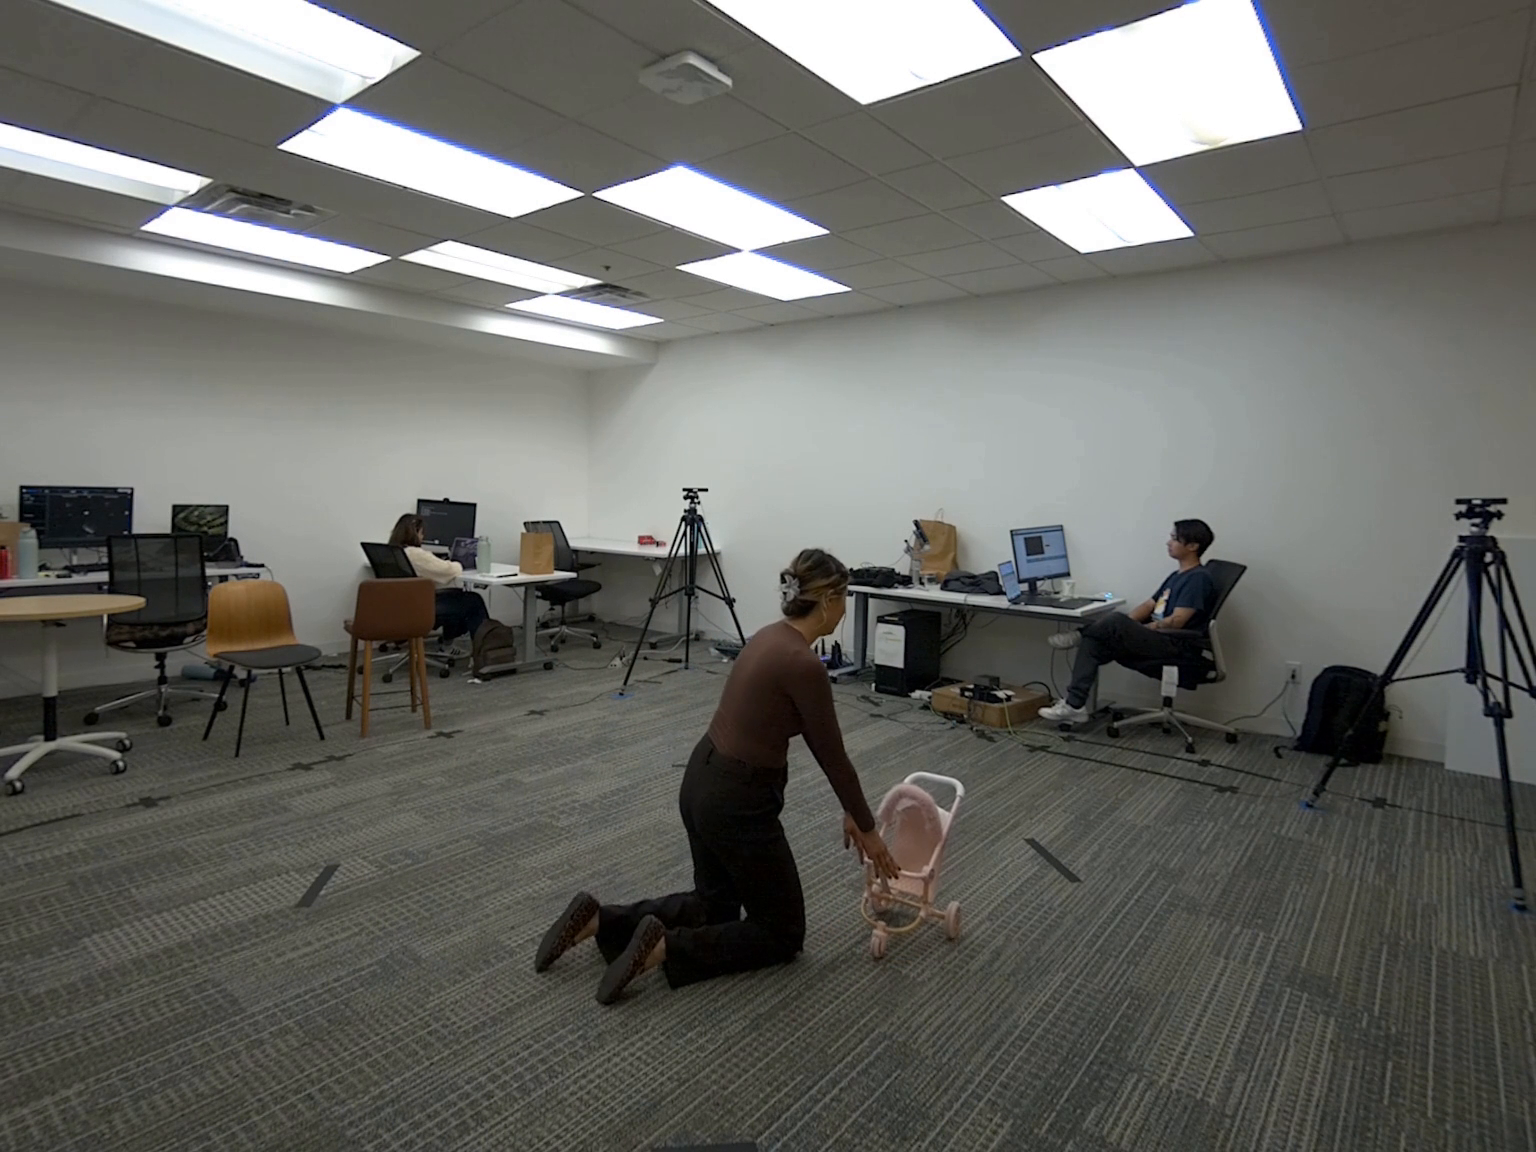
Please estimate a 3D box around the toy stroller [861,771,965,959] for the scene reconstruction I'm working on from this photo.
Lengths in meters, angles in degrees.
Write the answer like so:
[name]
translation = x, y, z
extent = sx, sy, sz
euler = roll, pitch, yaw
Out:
[toy stroller]
translation = 0.436, 0.901, 2.685
extent = 0.291, 0.538, 0.328
euler = 3, -9, 39
